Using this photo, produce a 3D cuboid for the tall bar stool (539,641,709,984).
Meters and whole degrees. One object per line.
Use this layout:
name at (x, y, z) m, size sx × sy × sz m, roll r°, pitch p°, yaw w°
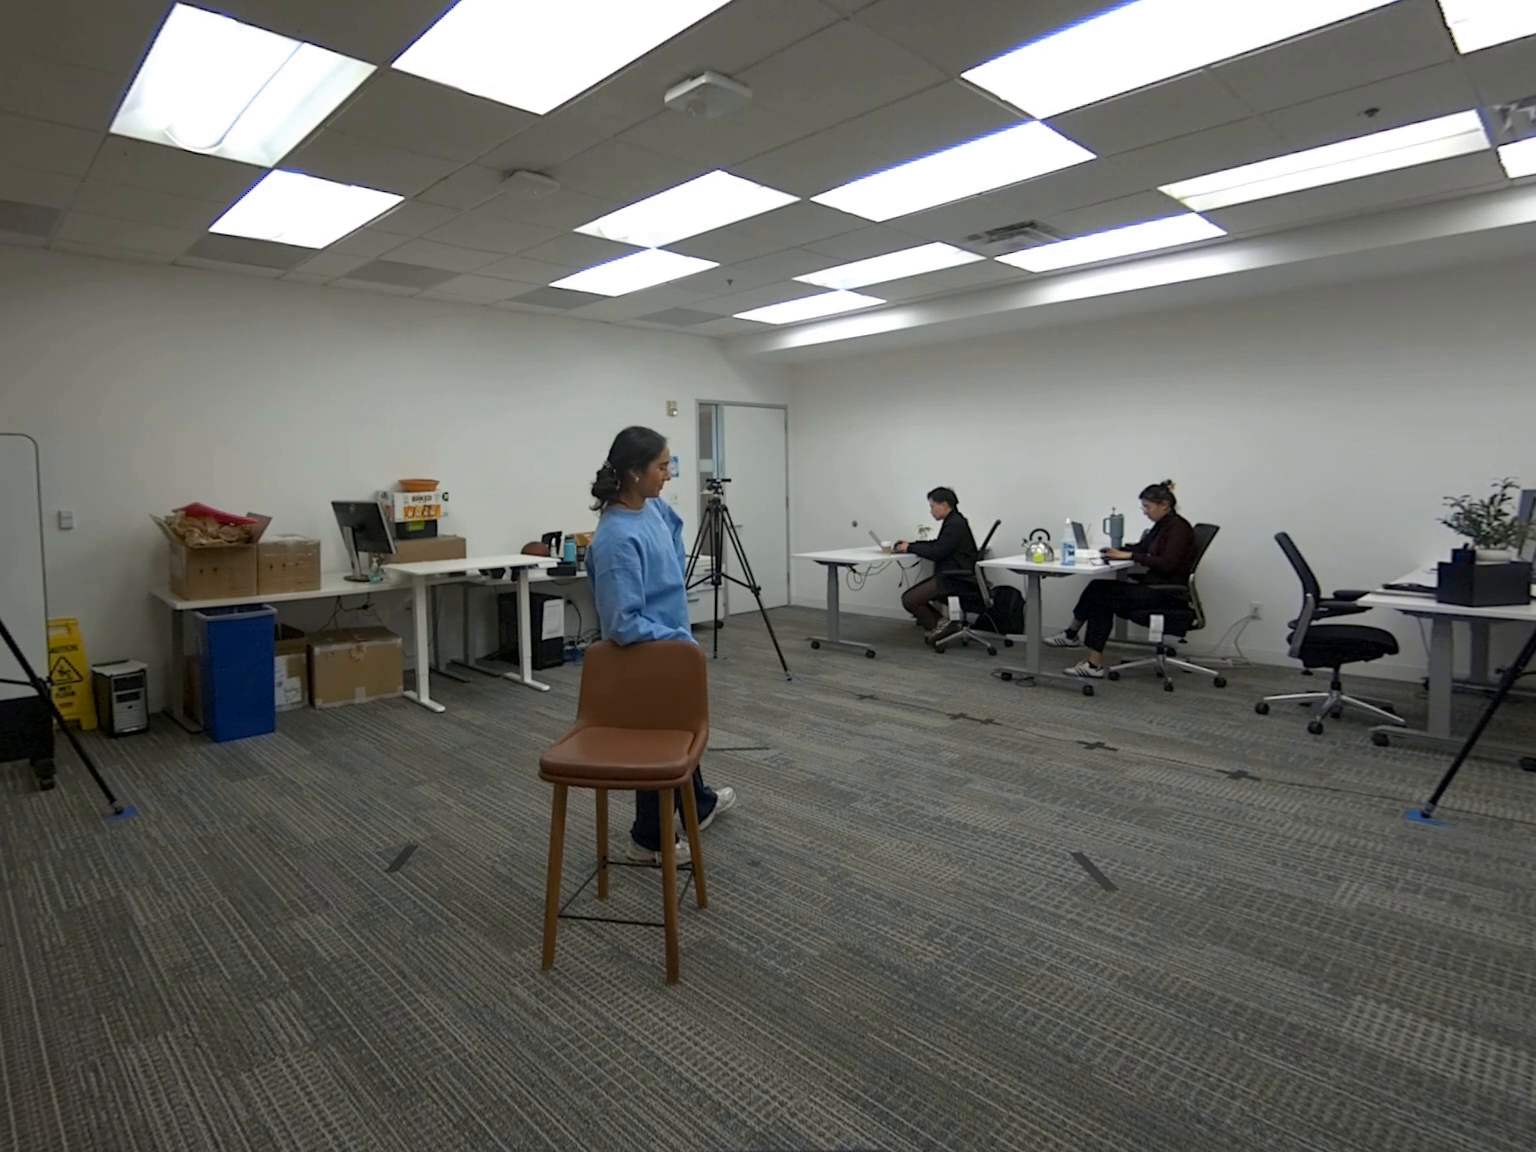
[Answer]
tall bar stool at (-0.421, 0.676, 2.608) m, size 0.462 × 0.888 × 0.463 m, roll 0°, pitch 3°, yaw 12°
